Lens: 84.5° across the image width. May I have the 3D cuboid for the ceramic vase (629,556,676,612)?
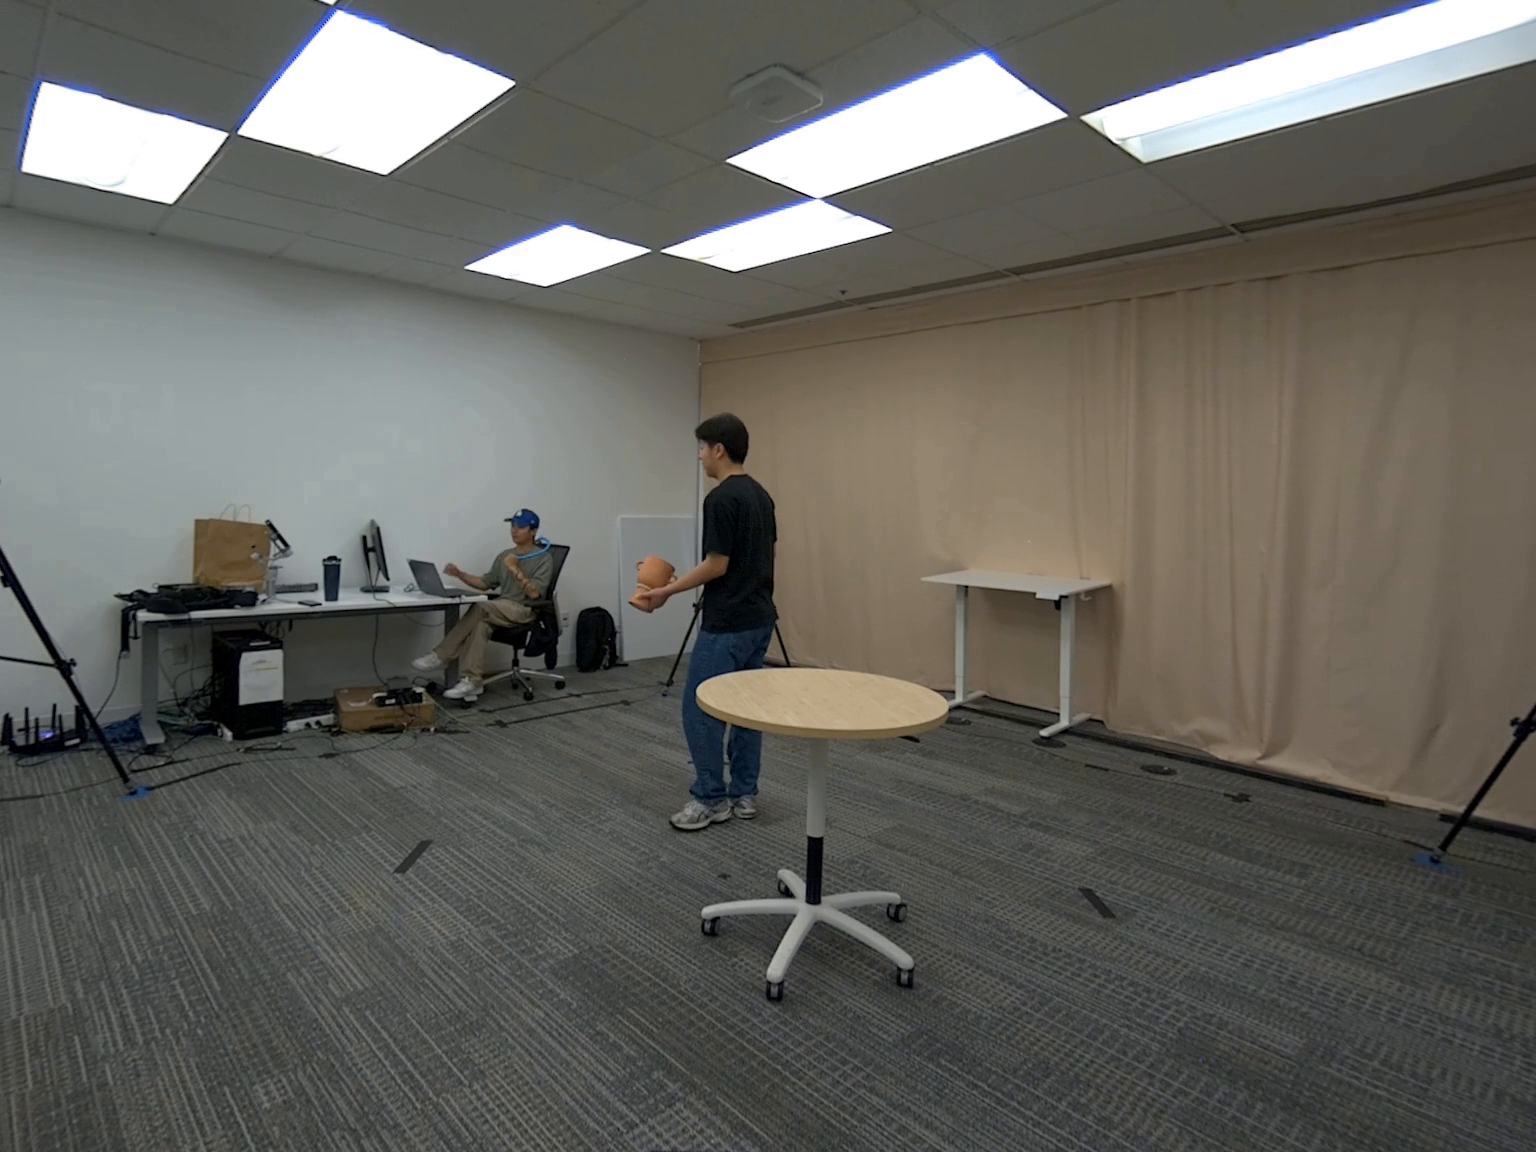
[{"bbox_3d":[-0.527,0.029,3.625,0.163,0.221,0.130,4,-29,50],"label":"ceramic vase"}]
